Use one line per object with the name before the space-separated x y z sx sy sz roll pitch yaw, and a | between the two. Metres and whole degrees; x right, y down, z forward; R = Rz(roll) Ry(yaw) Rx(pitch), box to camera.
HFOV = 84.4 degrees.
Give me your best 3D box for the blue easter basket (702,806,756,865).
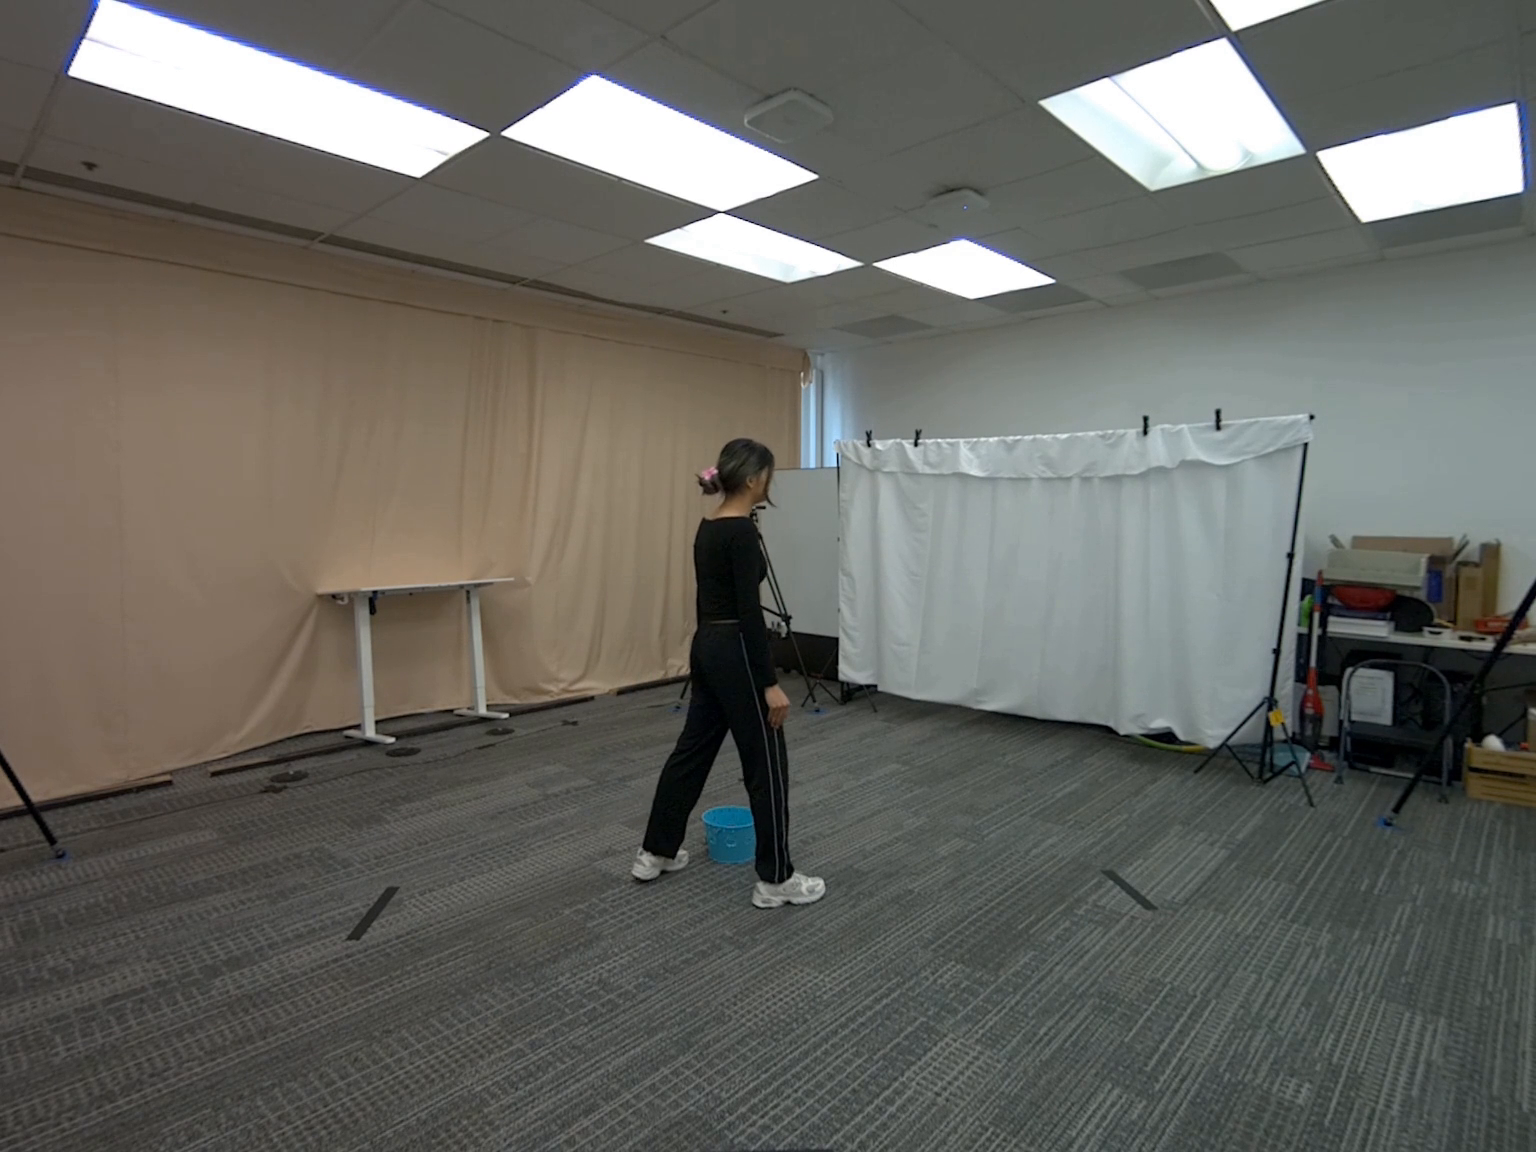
blue easter basket | -0.147 1.033 3.361 0.243 0.155 0.244 -1 4 -2
